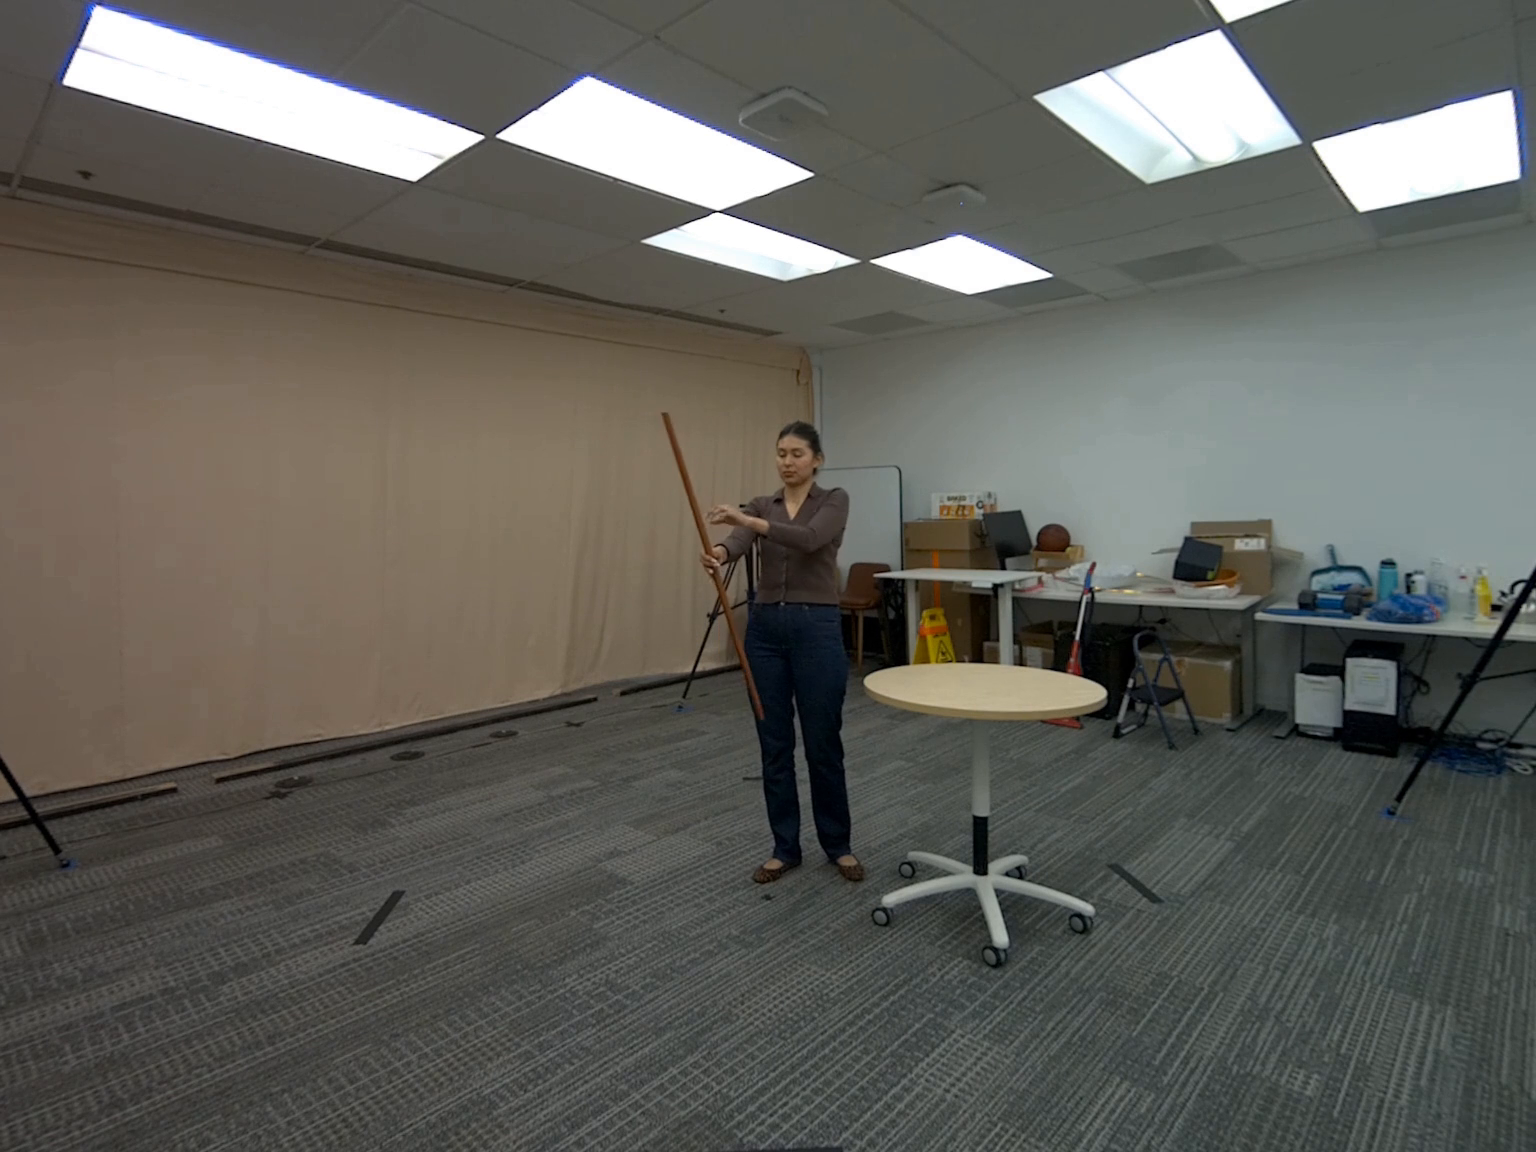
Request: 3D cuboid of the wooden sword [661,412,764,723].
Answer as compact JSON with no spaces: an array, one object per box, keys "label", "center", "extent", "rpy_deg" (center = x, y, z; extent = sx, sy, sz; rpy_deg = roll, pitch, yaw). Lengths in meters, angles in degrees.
[{"label":"wooden sword","center":[-0.166,-0.039,2.707],"extent":[0.051,1.024,0.024],"rpy_deg":[-18,1,2]}]
